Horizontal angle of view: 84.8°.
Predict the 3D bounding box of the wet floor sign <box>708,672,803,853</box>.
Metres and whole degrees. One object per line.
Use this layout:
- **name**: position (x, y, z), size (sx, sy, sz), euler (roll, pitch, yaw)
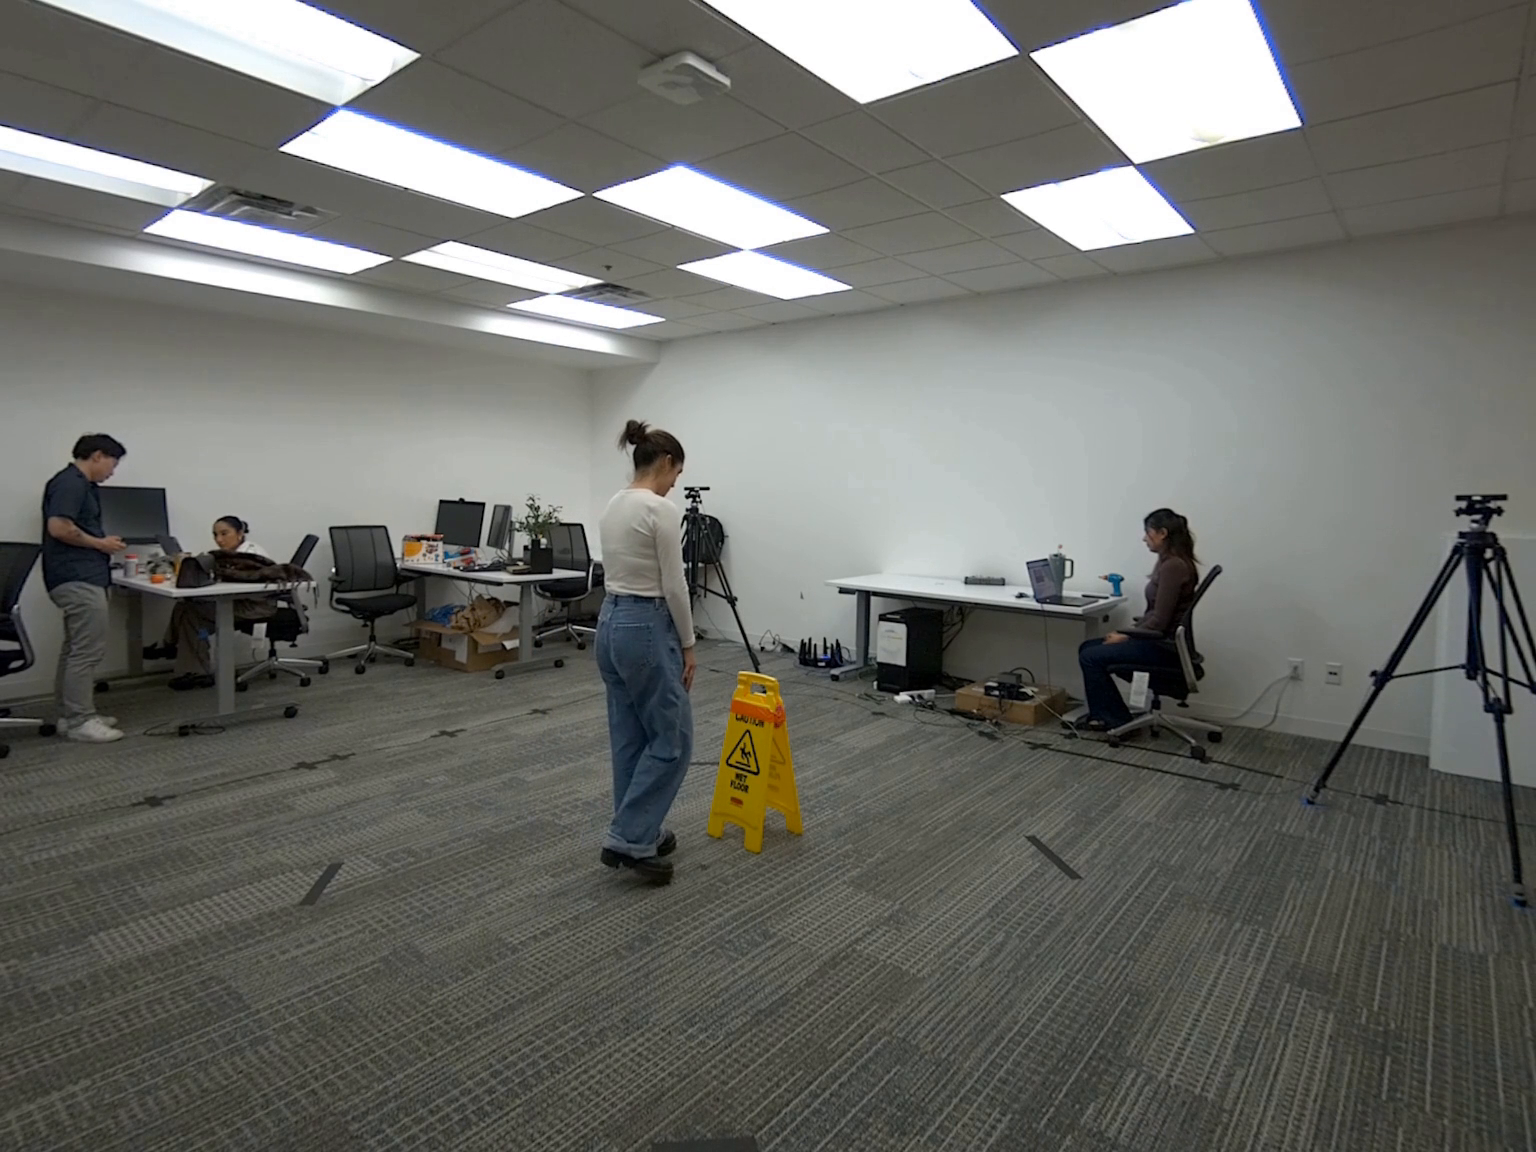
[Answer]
- **wet floor sign**: position (-0.060, 0.710, 3.412), size (0.292, 0.644, 0.281), euler (3, 4, 42)
